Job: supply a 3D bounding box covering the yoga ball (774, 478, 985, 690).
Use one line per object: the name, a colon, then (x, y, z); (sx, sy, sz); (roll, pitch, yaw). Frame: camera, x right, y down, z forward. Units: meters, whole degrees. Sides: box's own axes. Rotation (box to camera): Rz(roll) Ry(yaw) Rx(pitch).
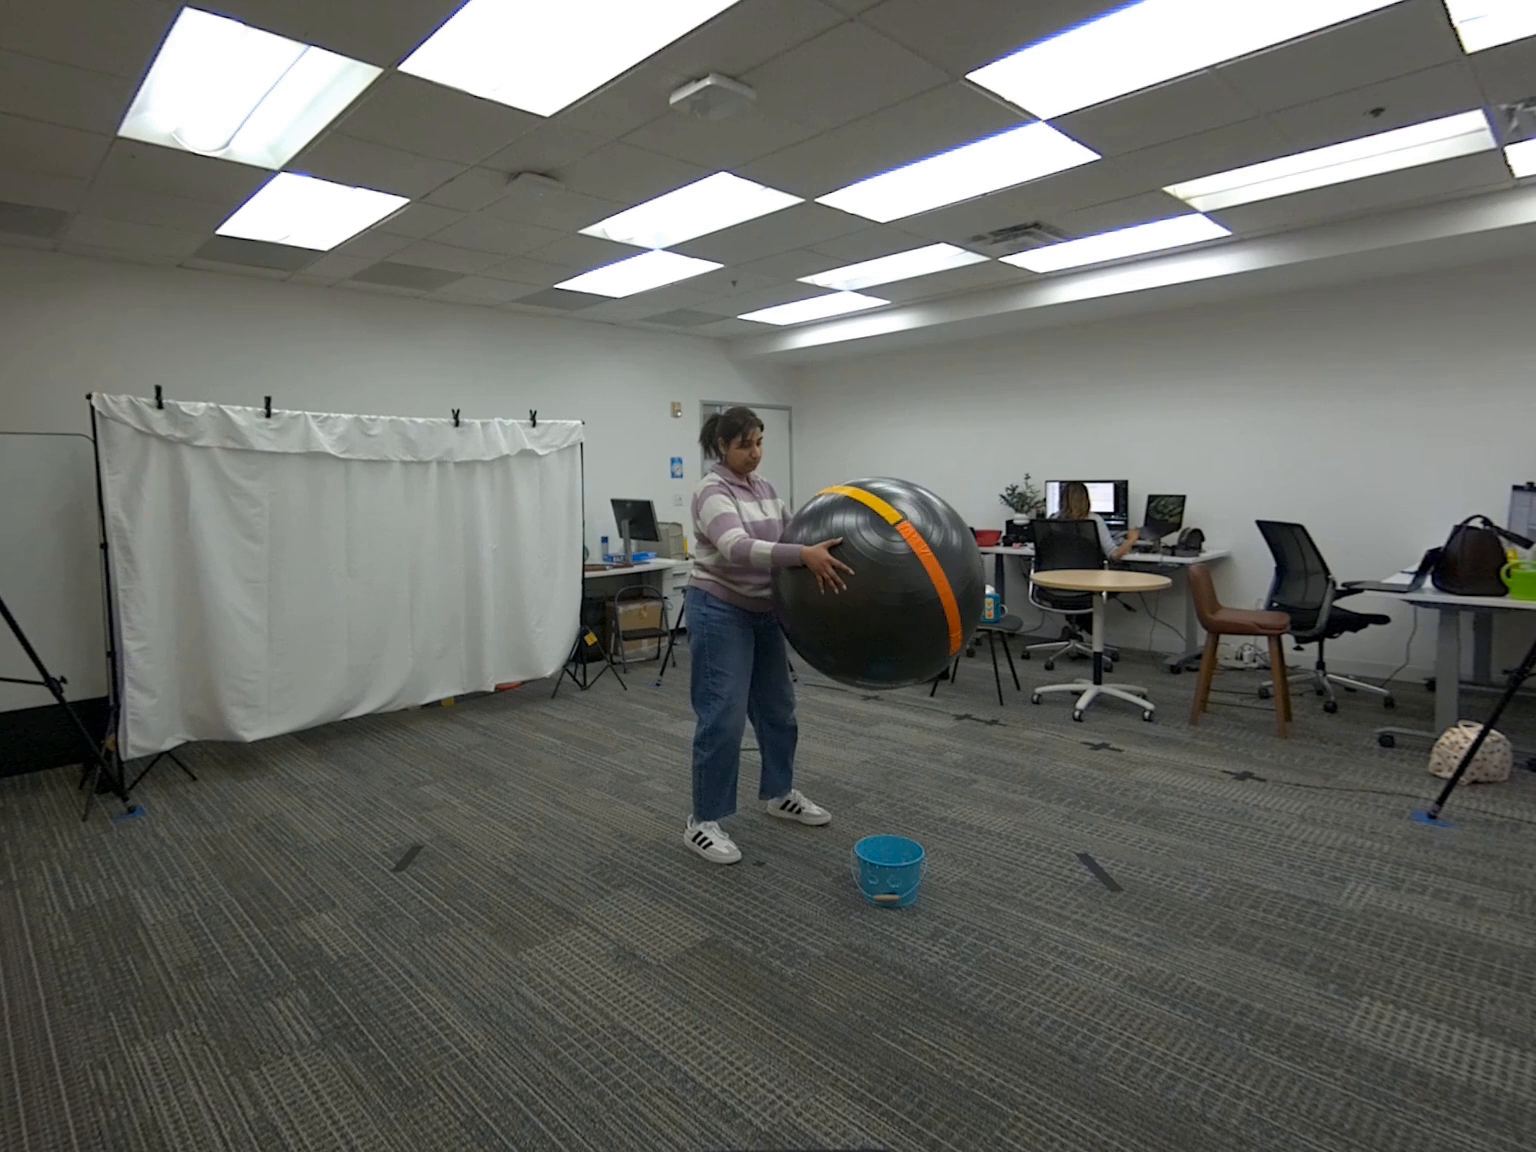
yoga ball: (0.394, 0.032, 3.063); (0.757, 0.755, 0.762); (-1, 5, -2)
